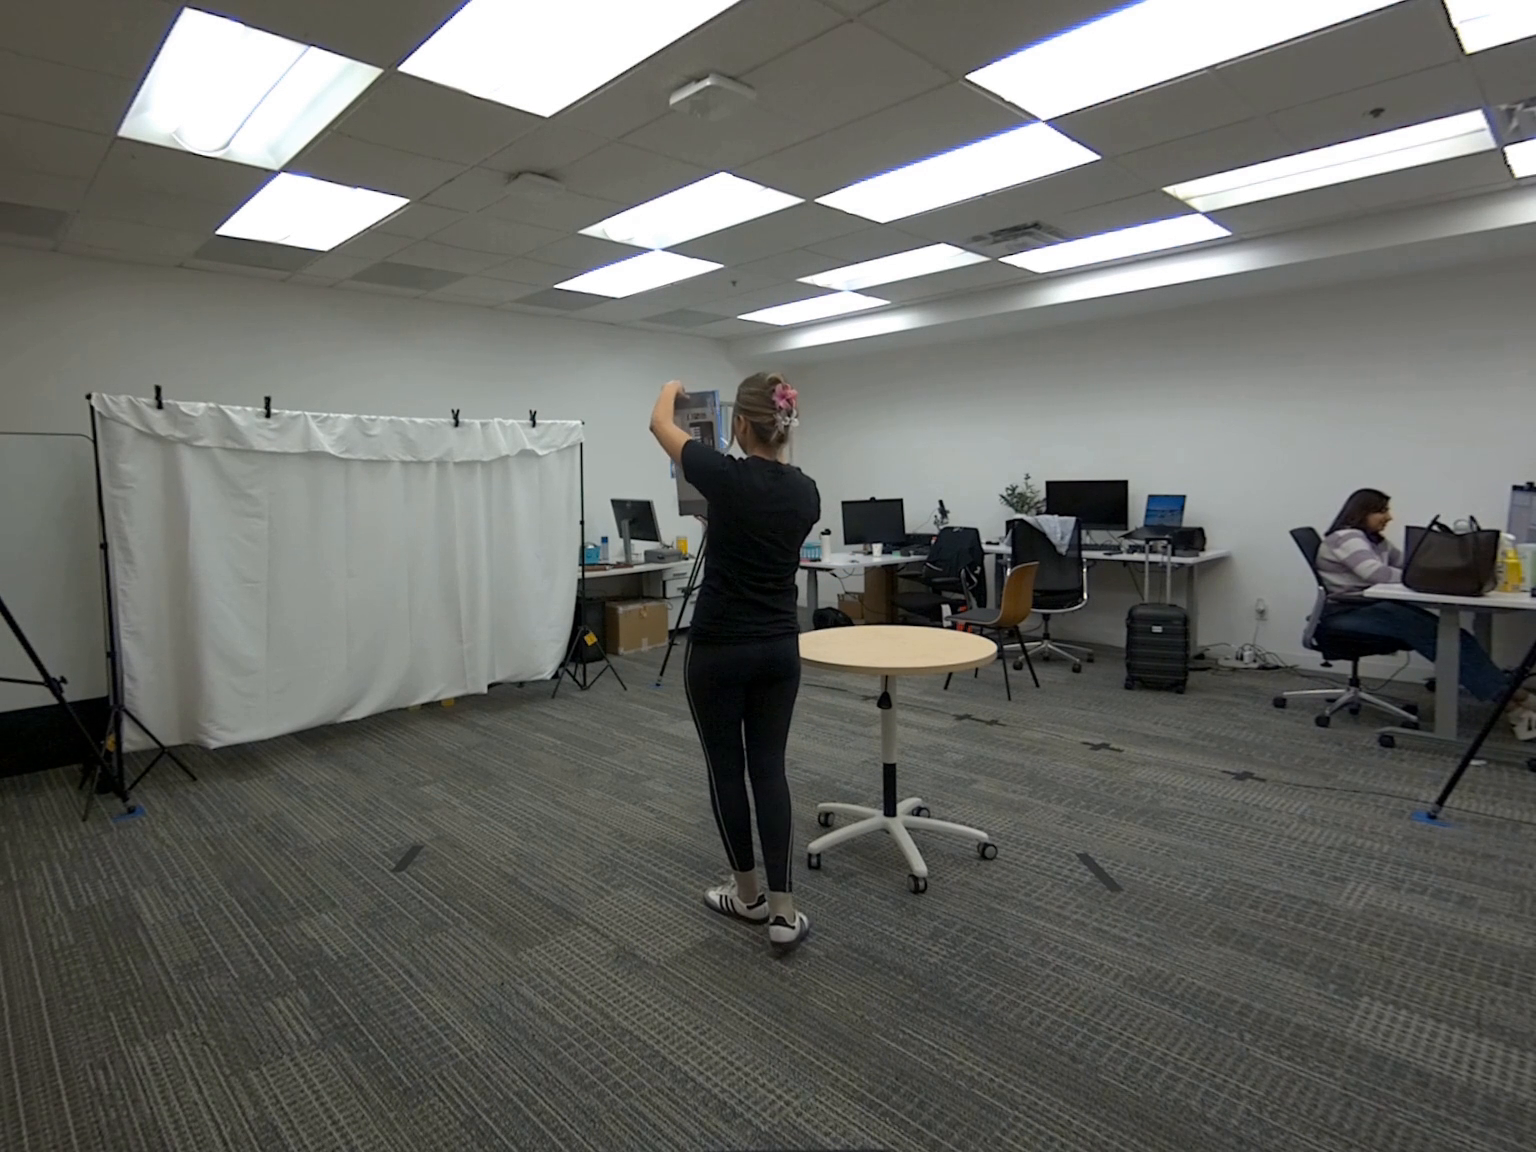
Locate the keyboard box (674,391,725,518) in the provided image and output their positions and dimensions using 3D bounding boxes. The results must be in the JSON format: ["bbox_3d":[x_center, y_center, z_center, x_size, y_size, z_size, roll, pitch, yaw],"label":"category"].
[{"bbox_3d":[-0.247,-0.436,3.054,0.177,0.432,0.059,-4,10,8],"label":"keyboard box"}]
